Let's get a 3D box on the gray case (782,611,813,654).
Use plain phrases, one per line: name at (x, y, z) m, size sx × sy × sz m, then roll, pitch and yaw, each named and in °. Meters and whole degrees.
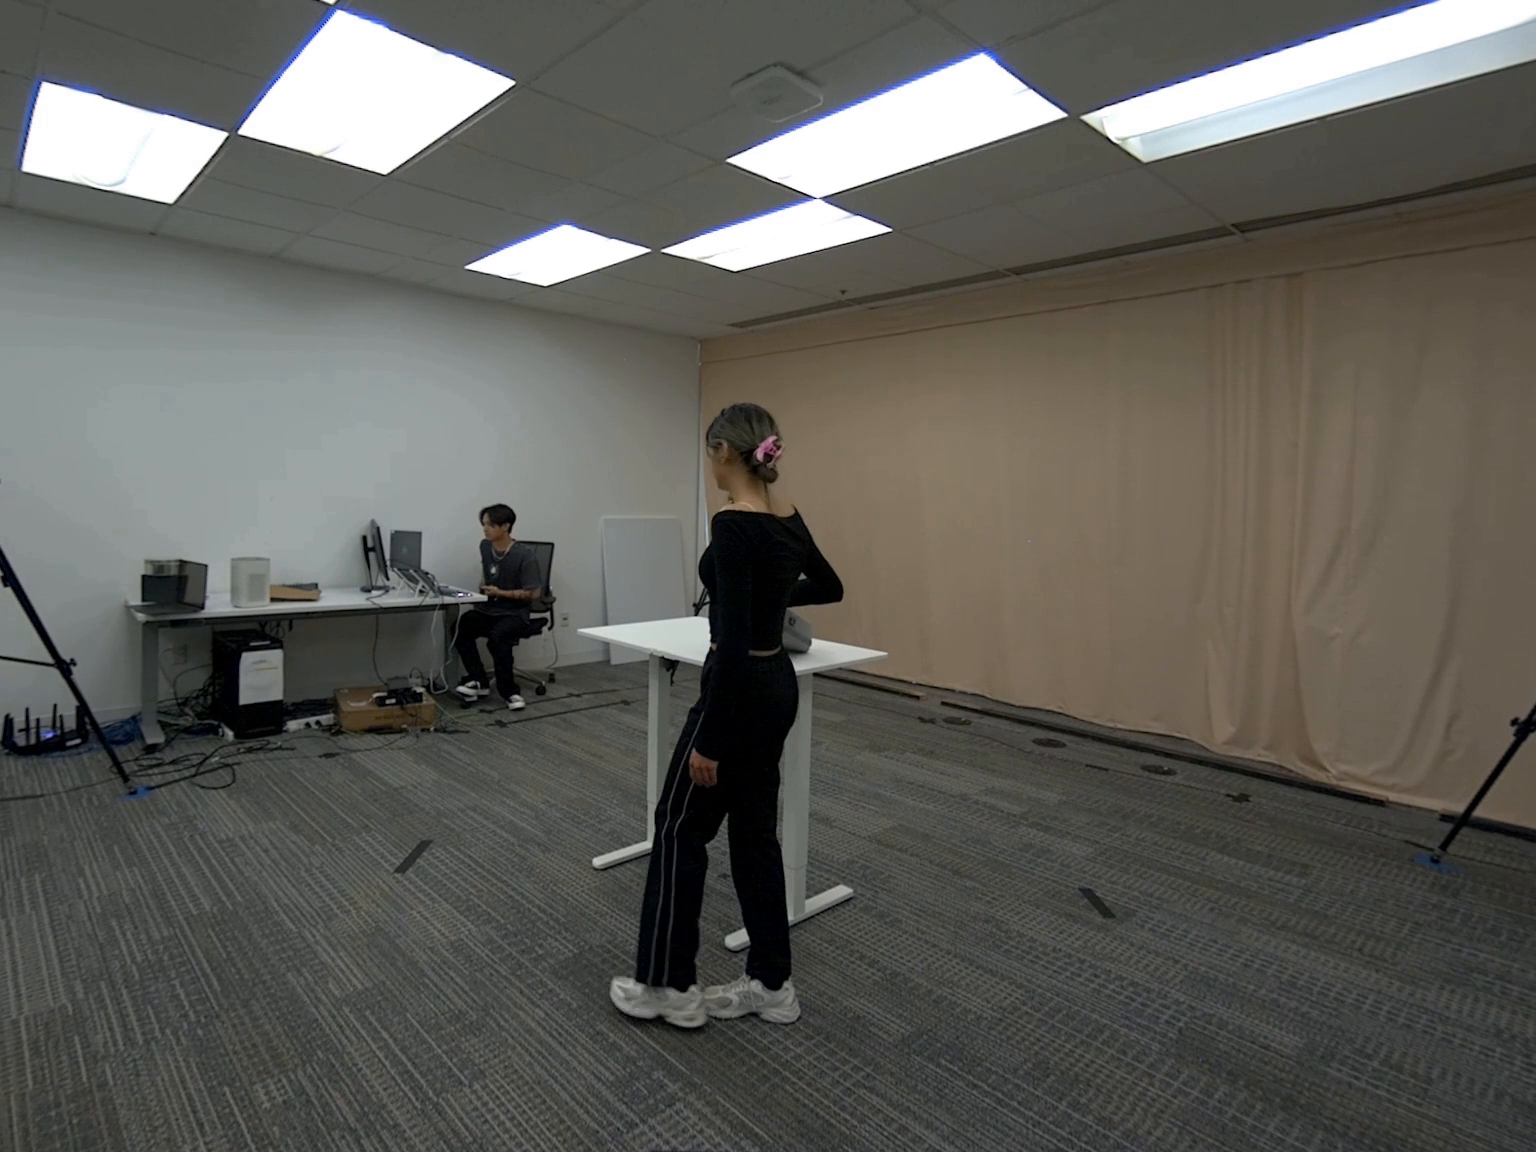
gray case at (-0.013, 0.170, 2.795) m, size 0.262 × 0.105 × 0.253 m, roll 4°, pitch -16°, yaw 28°
